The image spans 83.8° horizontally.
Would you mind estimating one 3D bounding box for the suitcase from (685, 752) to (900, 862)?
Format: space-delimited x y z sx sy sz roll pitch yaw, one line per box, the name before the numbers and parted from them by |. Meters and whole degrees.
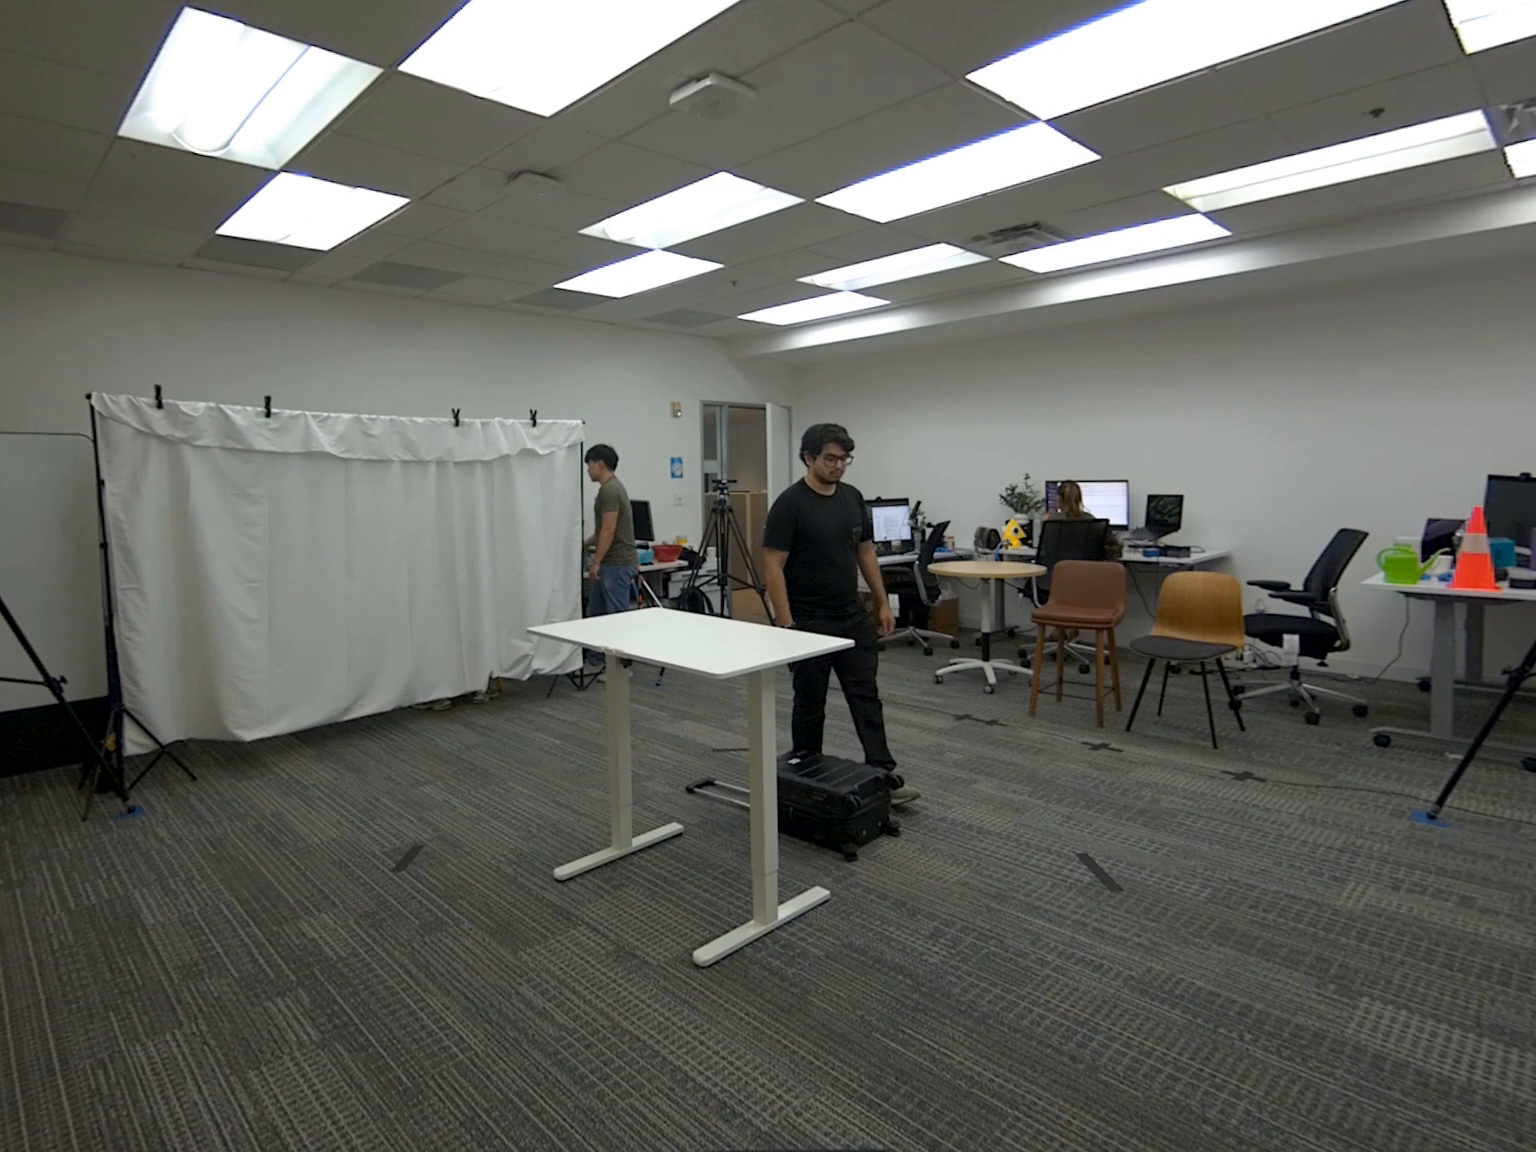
suitcase | 0.058 0.872 3.563 1.009 0.255 0.374 6 10 41
